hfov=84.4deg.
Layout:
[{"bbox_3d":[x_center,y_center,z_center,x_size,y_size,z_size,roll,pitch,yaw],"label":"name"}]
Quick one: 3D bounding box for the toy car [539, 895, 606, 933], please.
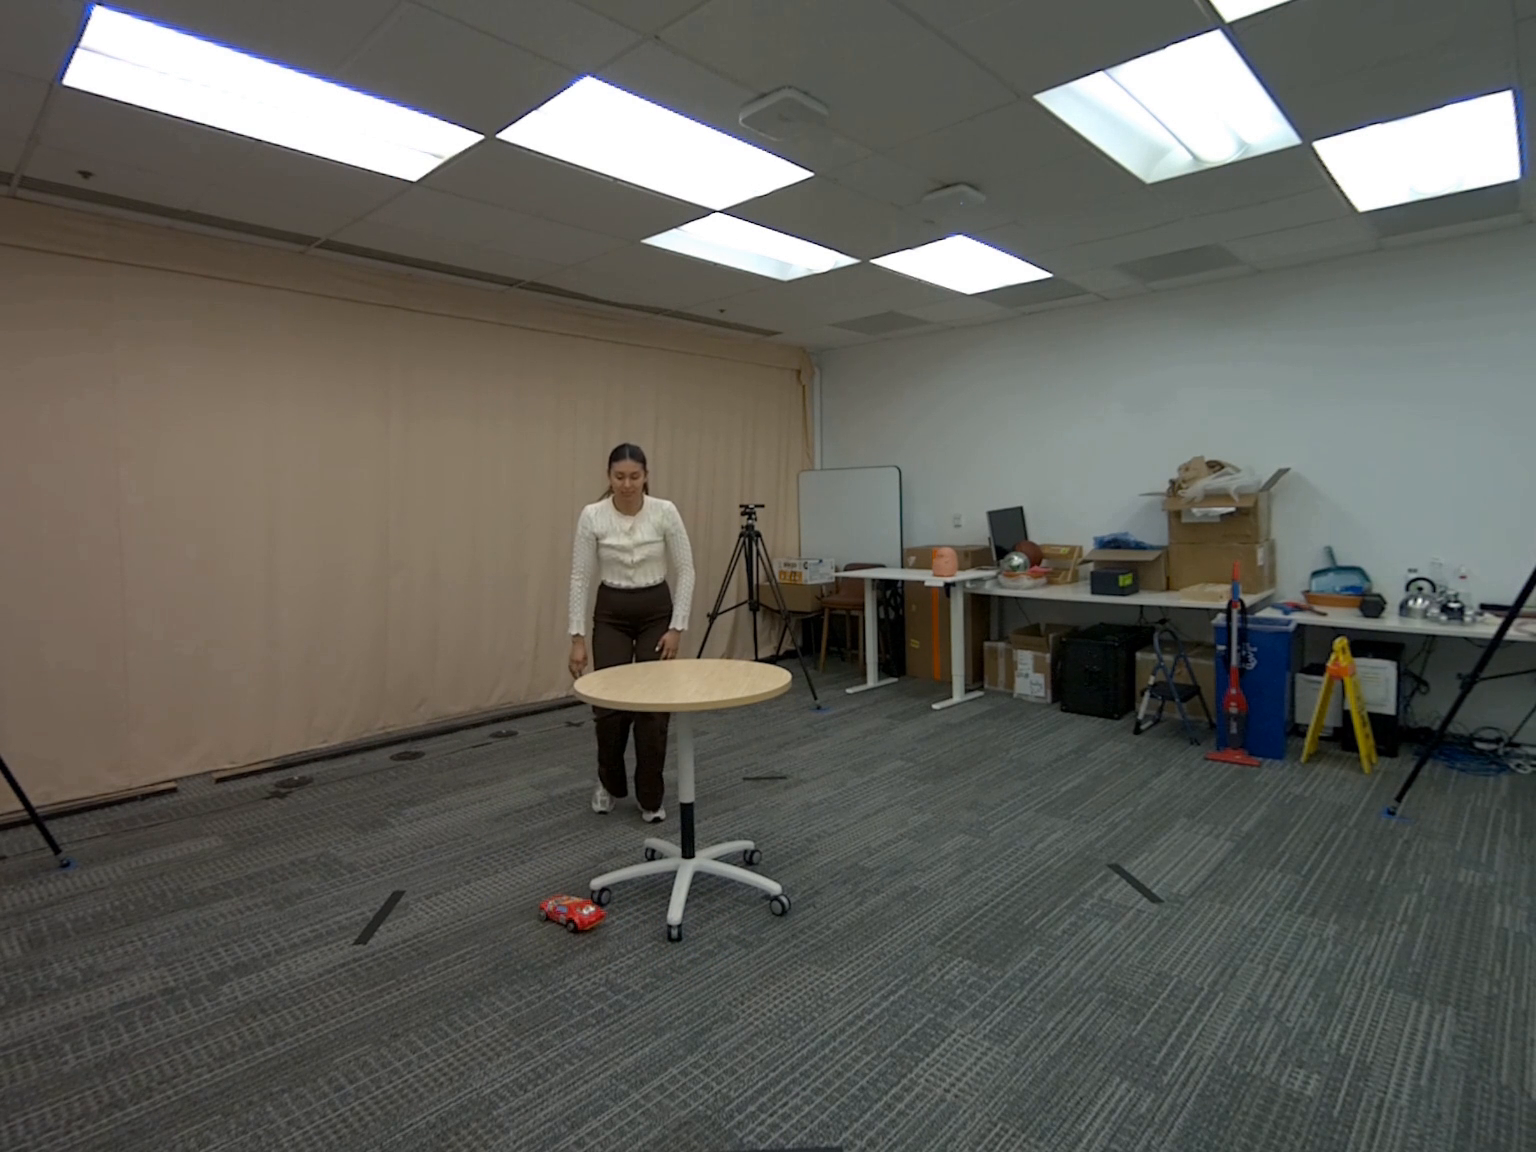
[{"bbox_3d":[-0.658,1.131,2.835,0.261,0.083,0.126,-10,-2,36],"label":"toy car"}]
